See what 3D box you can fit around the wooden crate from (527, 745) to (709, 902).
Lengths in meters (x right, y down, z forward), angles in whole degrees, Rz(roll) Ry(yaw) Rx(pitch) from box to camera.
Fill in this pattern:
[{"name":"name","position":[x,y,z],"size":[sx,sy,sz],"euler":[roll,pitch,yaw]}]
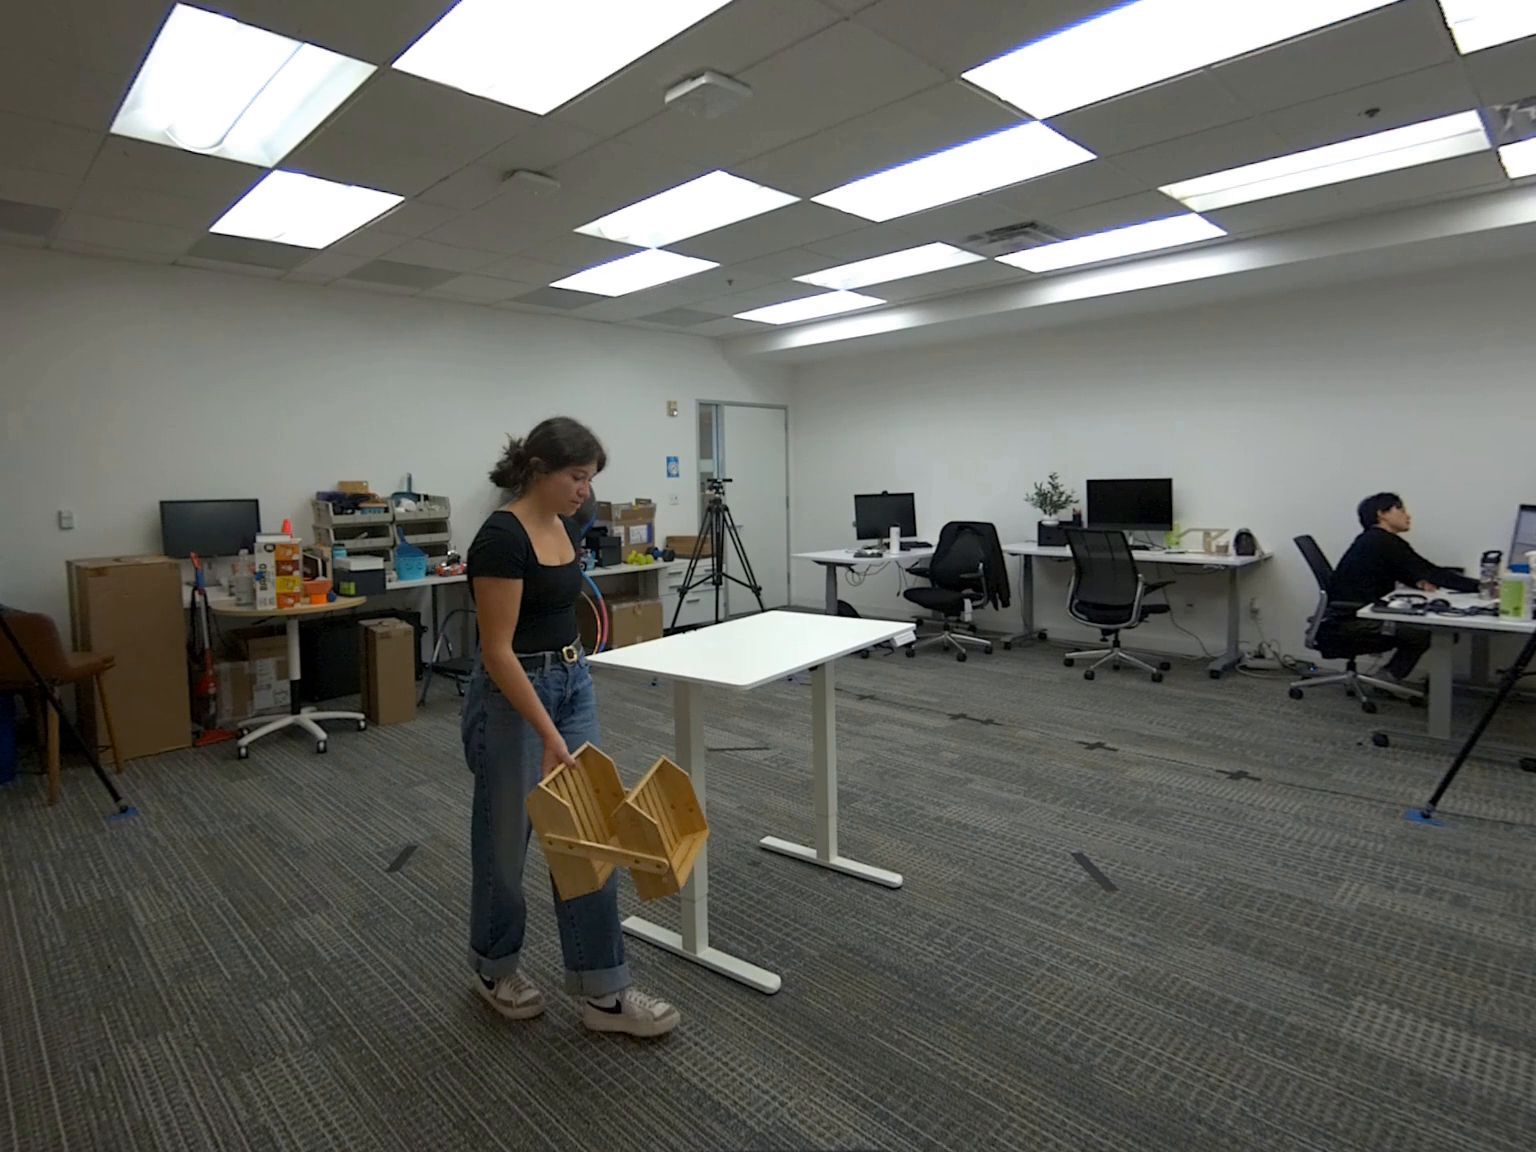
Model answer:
[{"name":"wooden crate","position":[-0.319,0.537,1.917],"size":[0.275,0.302,0.322],"euler":[-20,1,10]}]
